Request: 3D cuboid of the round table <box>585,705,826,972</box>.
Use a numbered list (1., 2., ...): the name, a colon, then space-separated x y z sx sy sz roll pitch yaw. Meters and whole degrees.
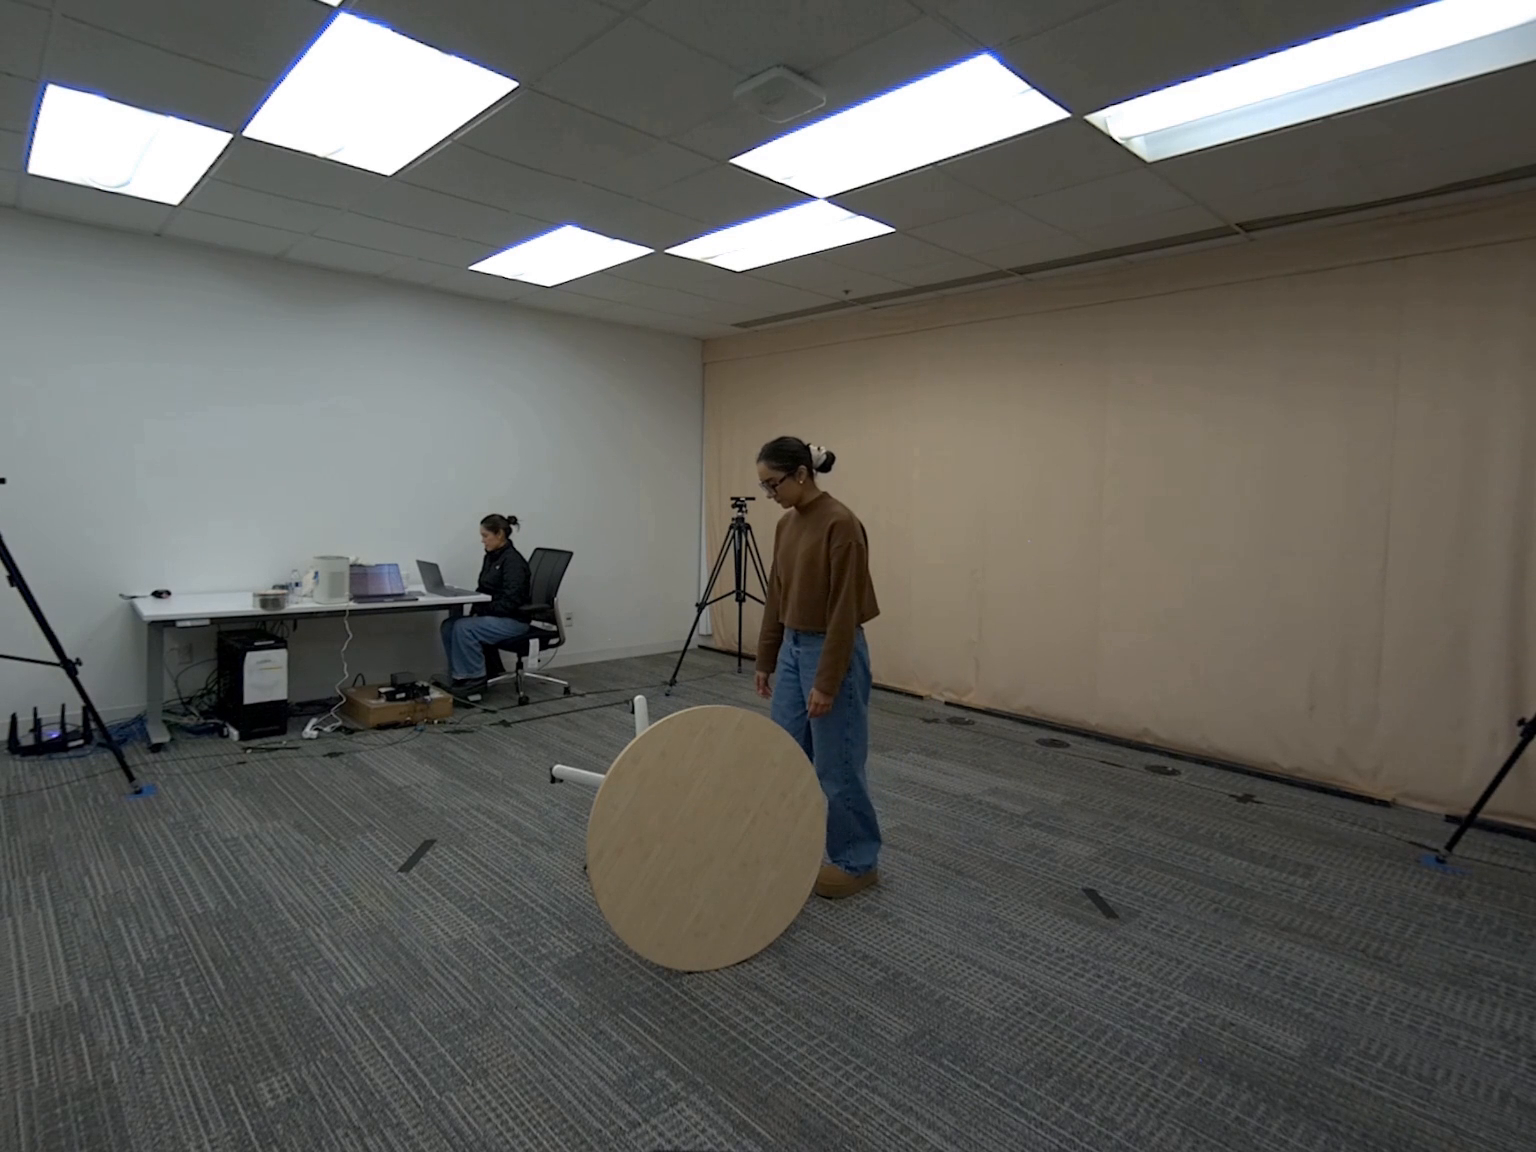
1. round table: -0.341 0.788 2.871 0.750 0.766 0.806 -1 -3 -25
